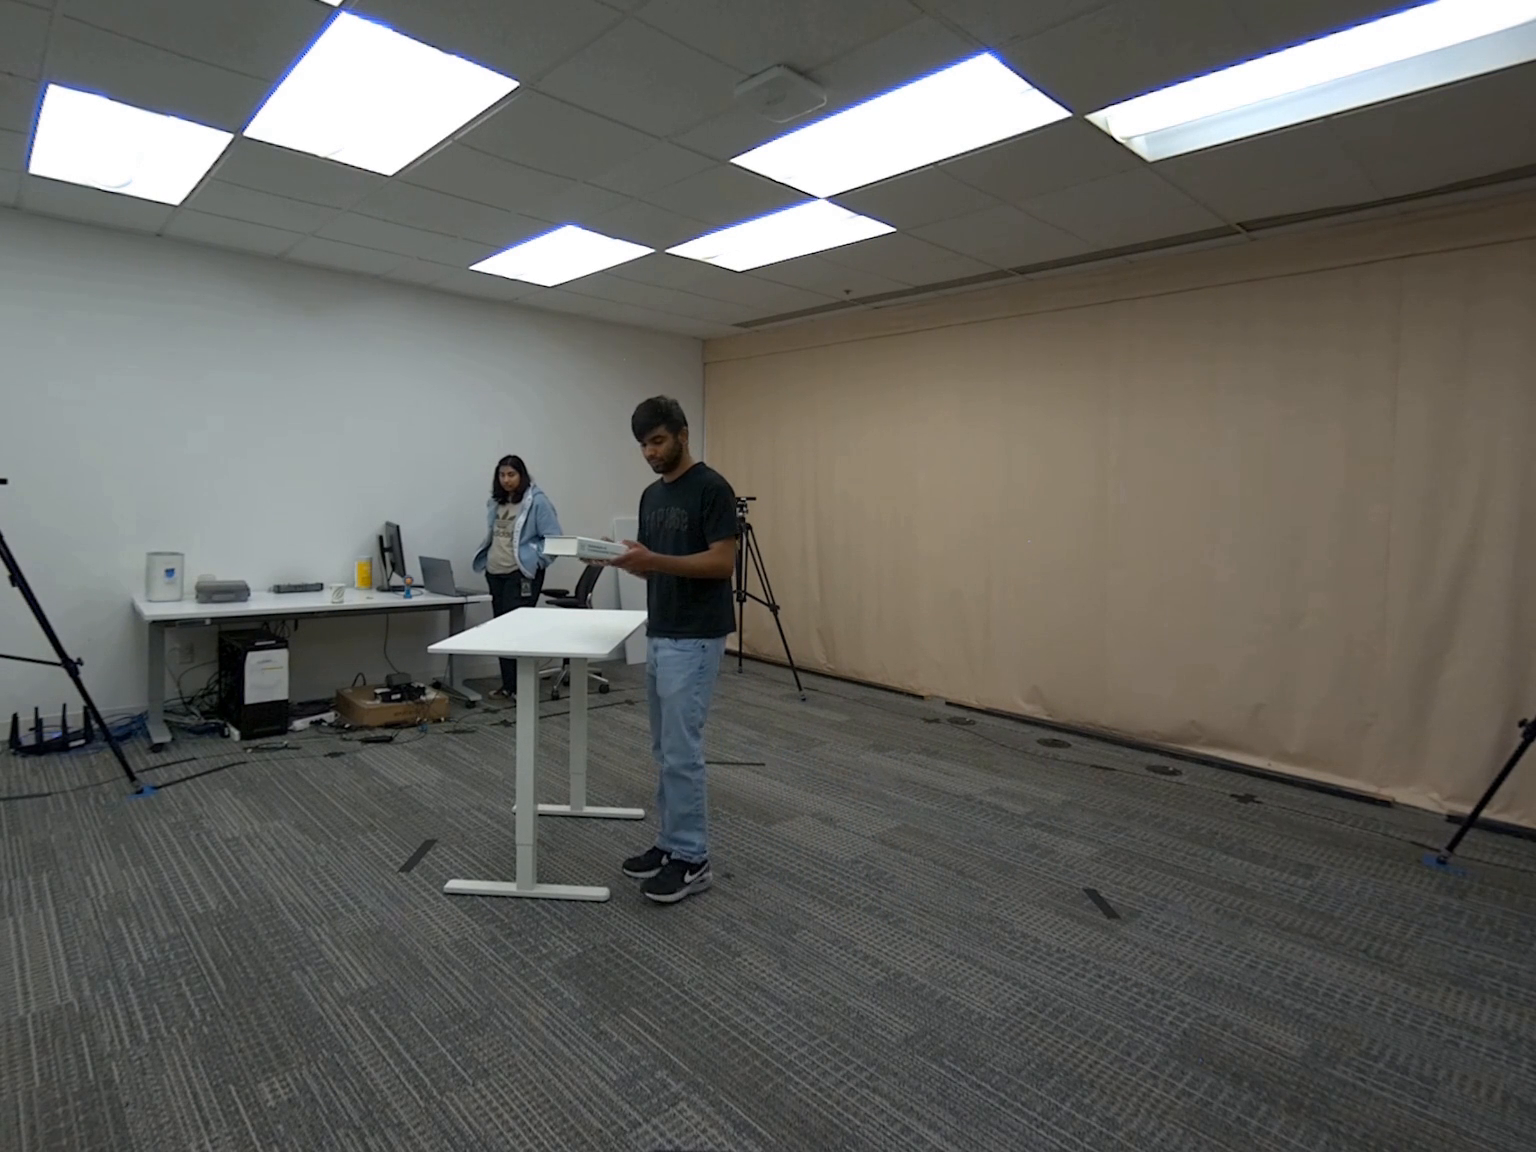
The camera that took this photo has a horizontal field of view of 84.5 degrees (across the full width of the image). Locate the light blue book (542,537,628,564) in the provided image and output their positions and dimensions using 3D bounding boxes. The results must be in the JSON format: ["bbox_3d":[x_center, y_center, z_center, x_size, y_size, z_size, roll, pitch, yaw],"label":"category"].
[{"bbox_3d":[-0.583,-0.083,2.766,0.195,0.059,0.256,5,-2,21],"label":"light blue book"}]
